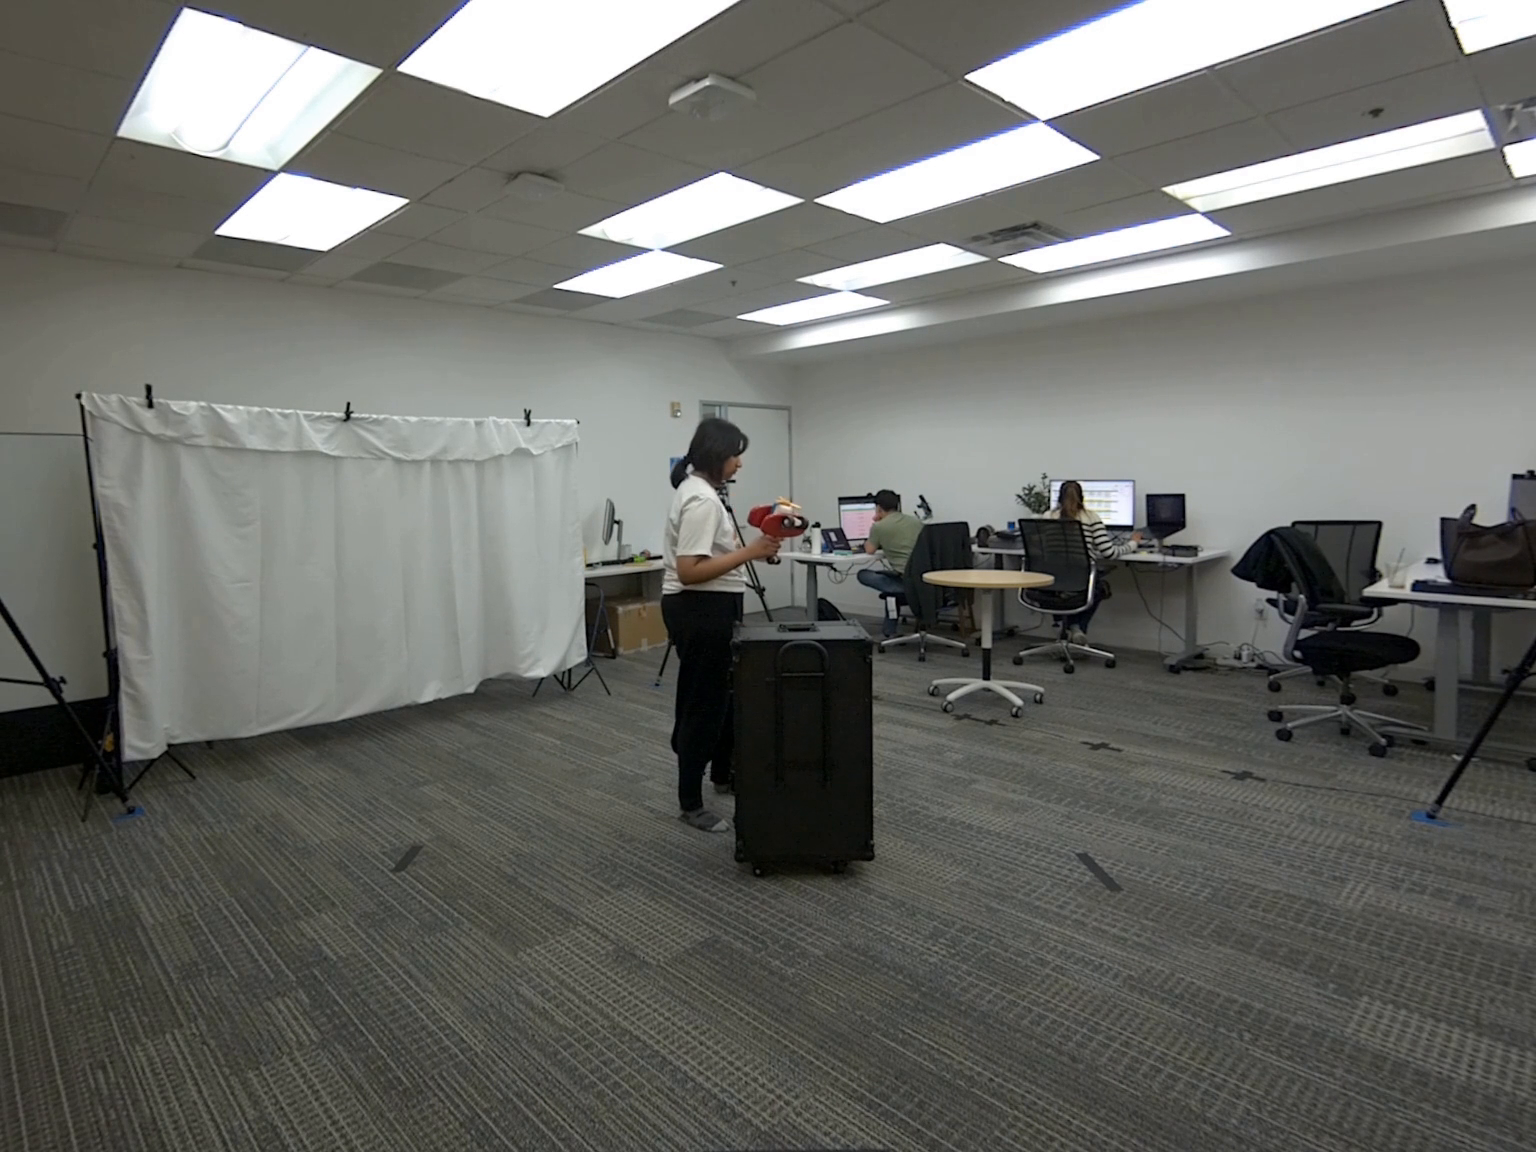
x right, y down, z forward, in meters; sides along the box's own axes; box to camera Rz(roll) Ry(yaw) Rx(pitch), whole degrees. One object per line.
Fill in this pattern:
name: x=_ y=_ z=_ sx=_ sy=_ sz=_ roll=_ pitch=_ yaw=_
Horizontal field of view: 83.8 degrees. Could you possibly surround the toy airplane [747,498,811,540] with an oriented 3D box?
toy airplane: x=0.020 y=-0.172 z=3.305 sx=0.162 sy=0.259 sz=0.242 roll=50 pitch=4 yaw=32
